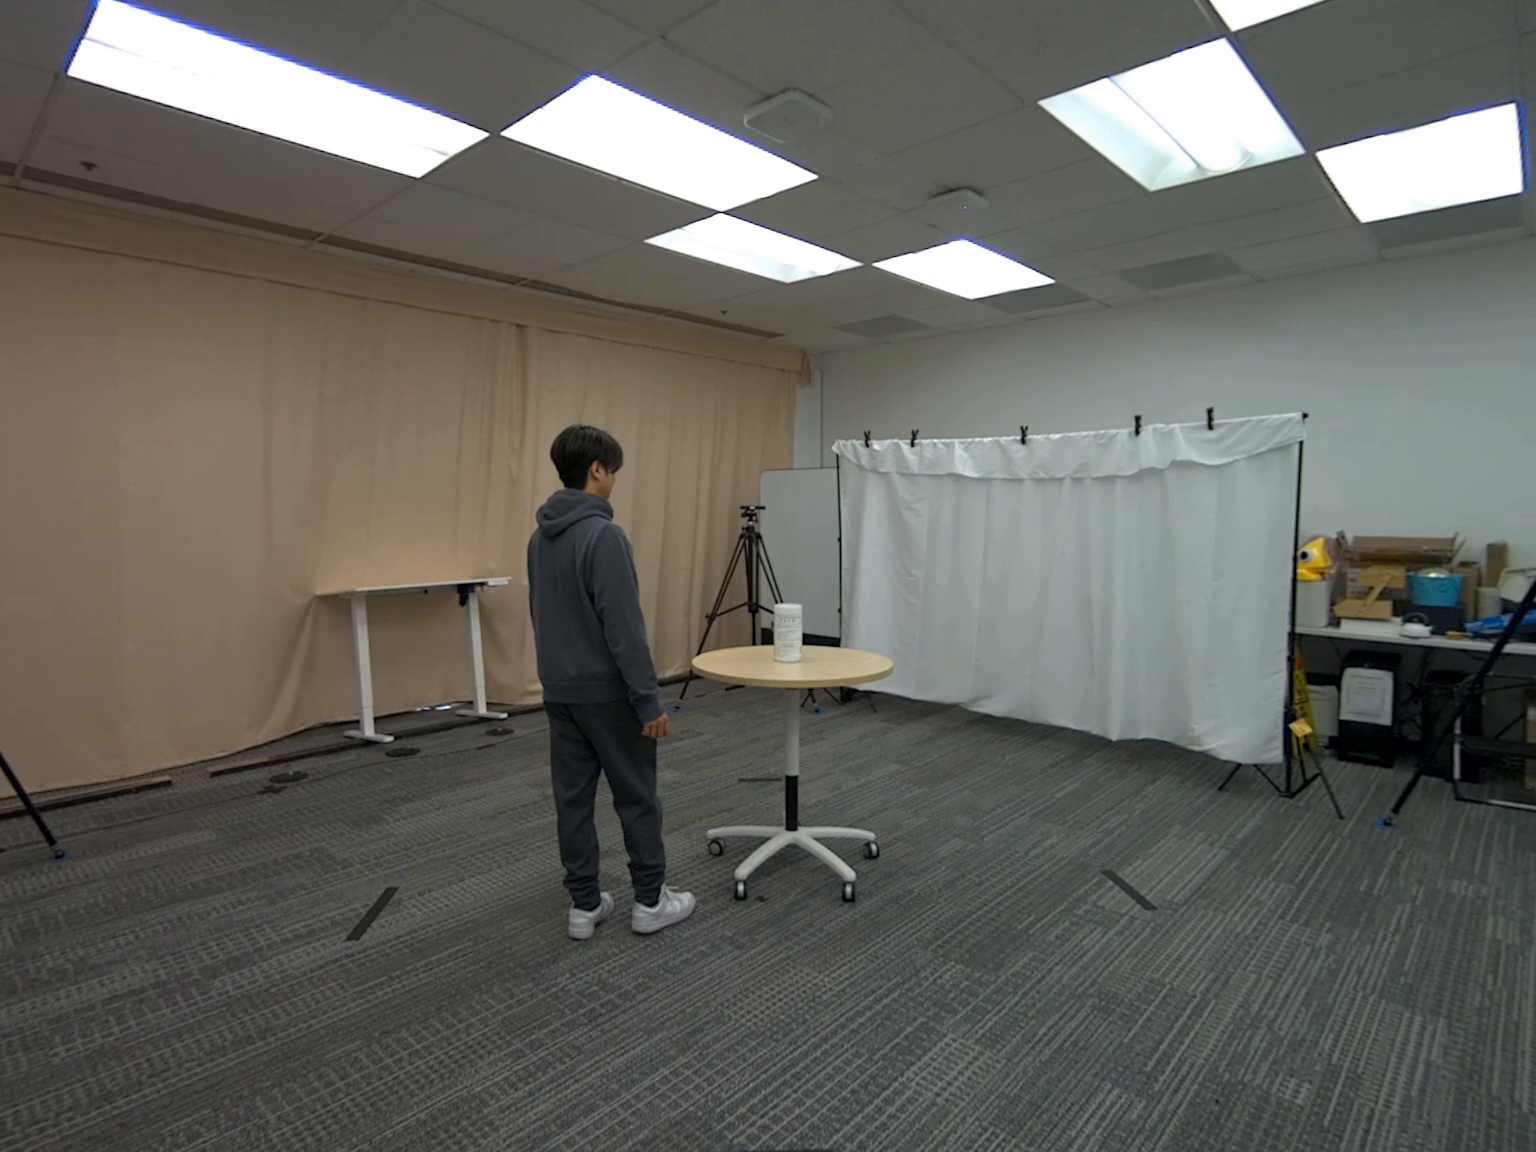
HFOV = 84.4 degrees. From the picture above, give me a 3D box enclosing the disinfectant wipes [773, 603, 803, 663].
[{"bbox_3d":[0.083,0.218,3.241,0.118,0.217,0.118,-1,3,-2],"label":"disinfectant wipes"}]
